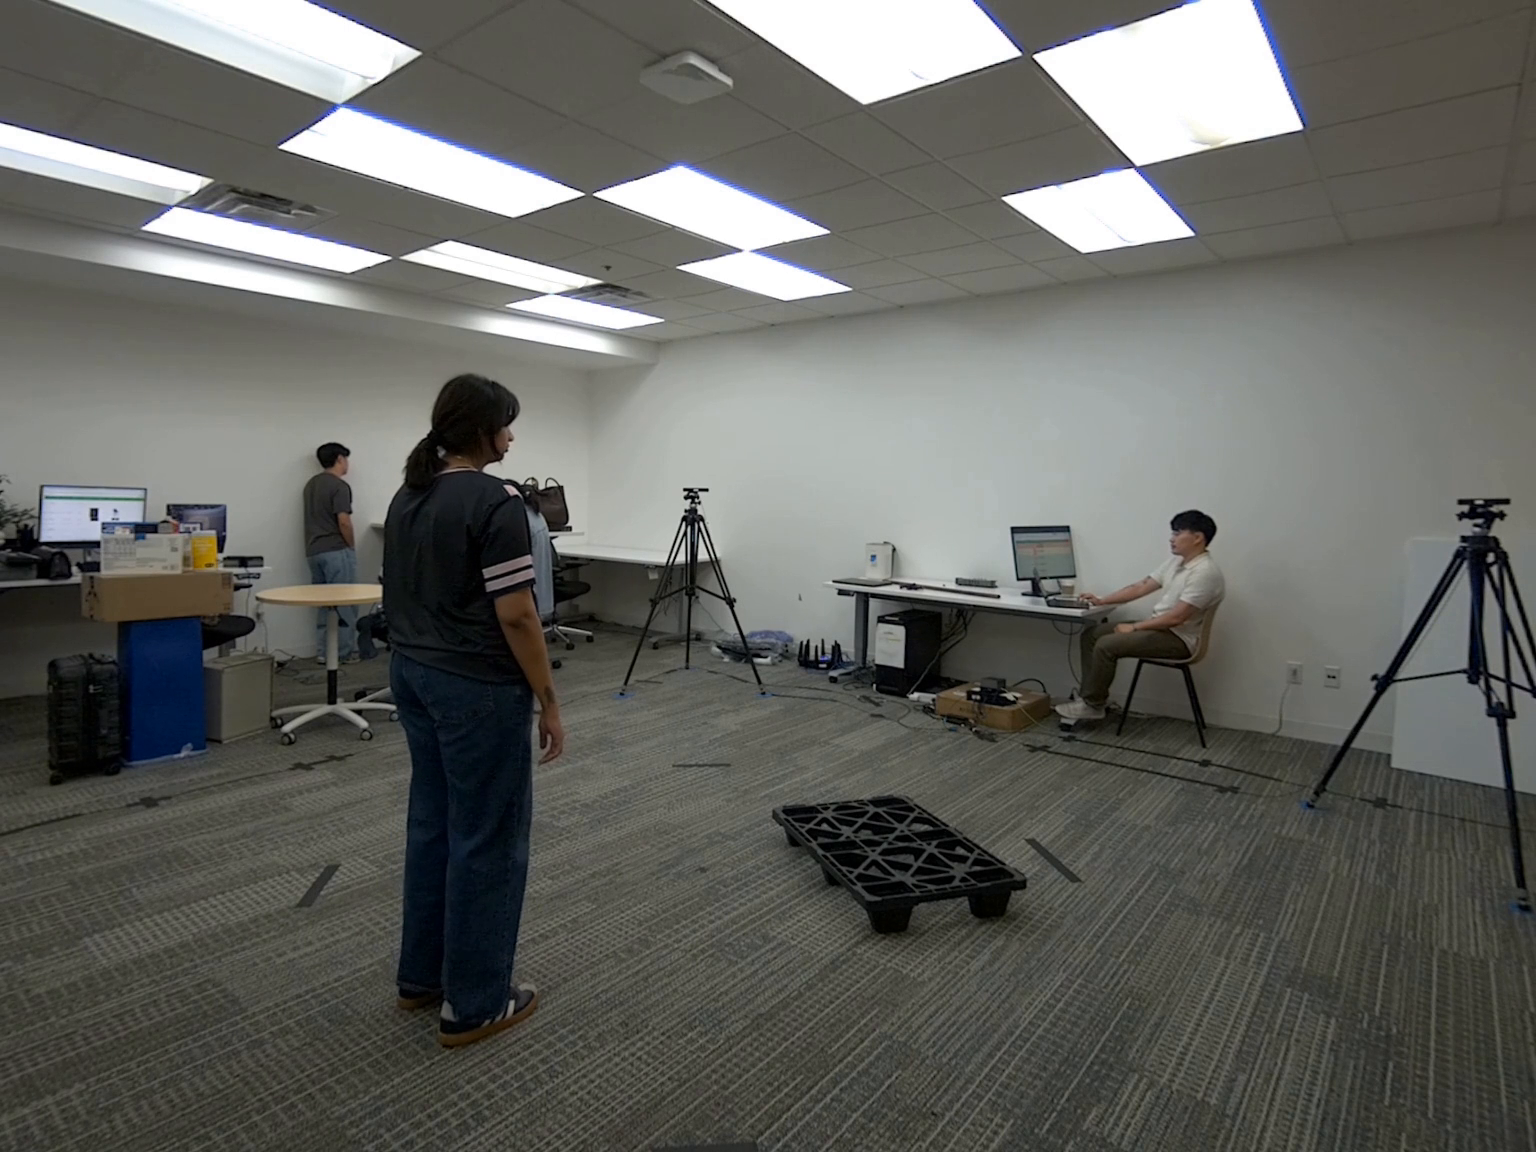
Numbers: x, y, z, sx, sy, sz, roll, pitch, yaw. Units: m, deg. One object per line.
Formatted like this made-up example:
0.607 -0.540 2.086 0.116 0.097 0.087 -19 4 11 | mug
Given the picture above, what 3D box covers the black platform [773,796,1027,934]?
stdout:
0.425 1.018 3.085 0.593 0.143 0.825 -1 6 -20 | black platform
